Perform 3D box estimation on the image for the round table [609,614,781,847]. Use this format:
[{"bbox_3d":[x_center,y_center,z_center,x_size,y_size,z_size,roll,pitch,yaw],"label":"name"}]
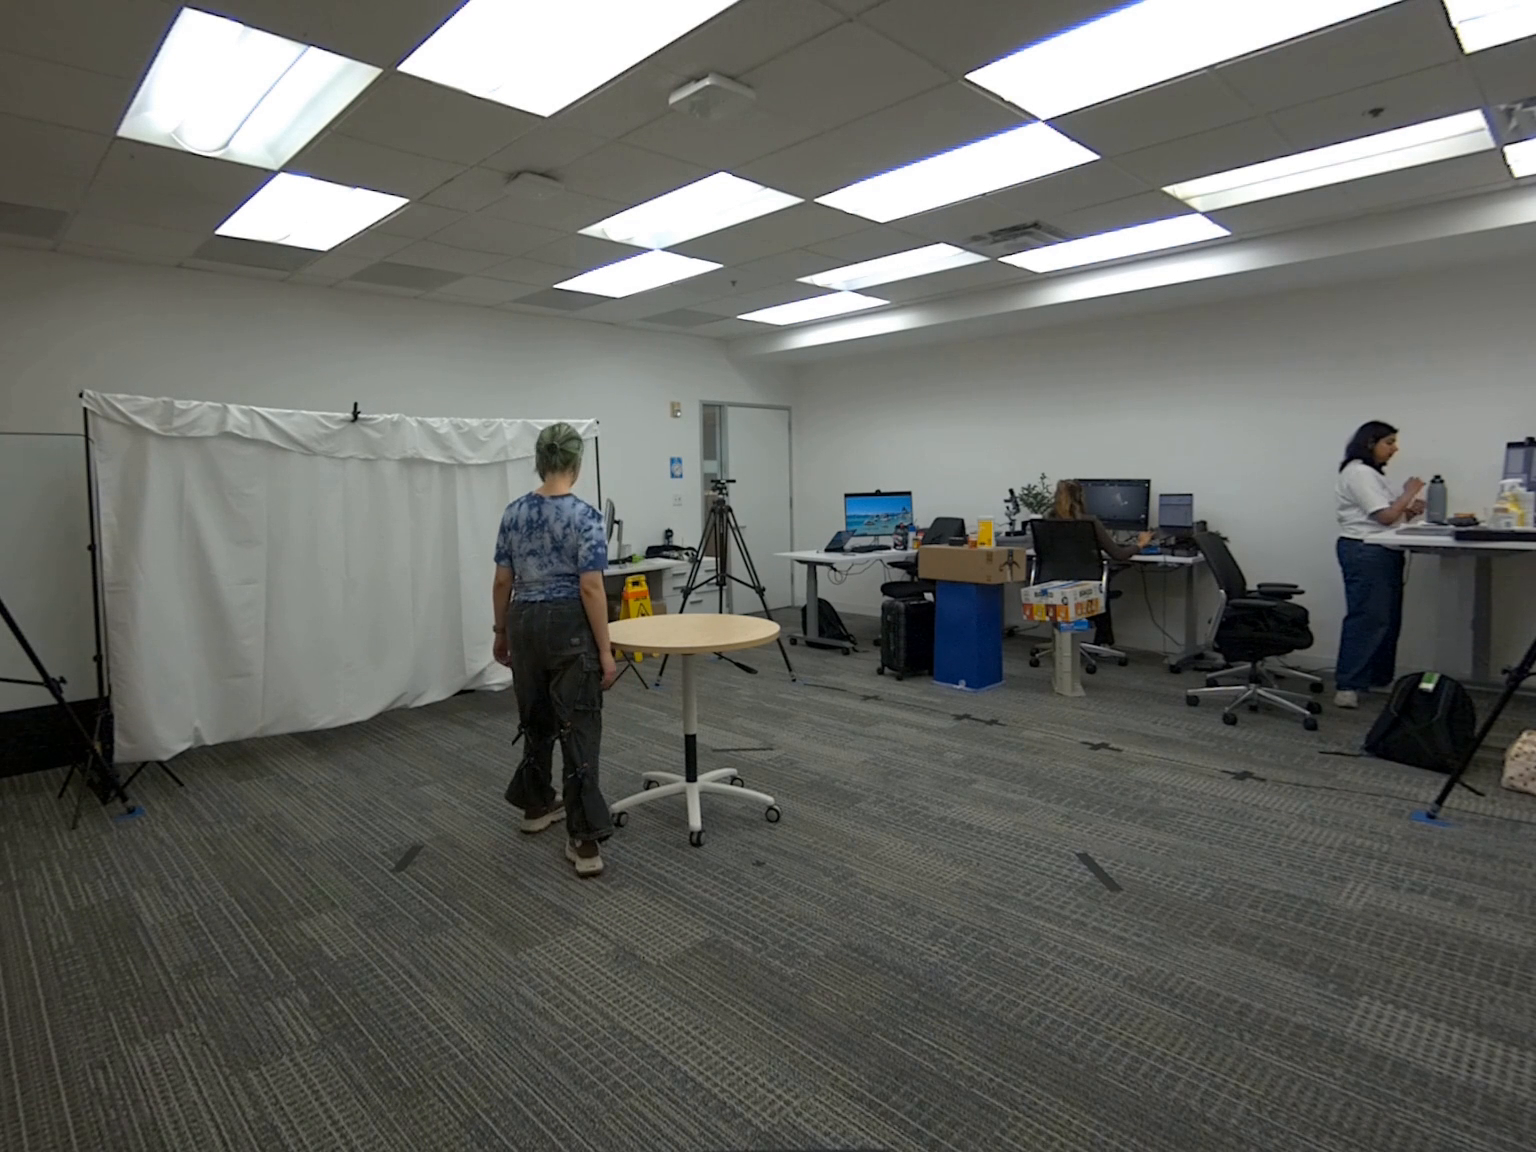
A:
[{"bbox_3d":[-0.323,0.612,3.567,0.763,0.791,0.767,-1,4,-2],"label":"round table"}]
